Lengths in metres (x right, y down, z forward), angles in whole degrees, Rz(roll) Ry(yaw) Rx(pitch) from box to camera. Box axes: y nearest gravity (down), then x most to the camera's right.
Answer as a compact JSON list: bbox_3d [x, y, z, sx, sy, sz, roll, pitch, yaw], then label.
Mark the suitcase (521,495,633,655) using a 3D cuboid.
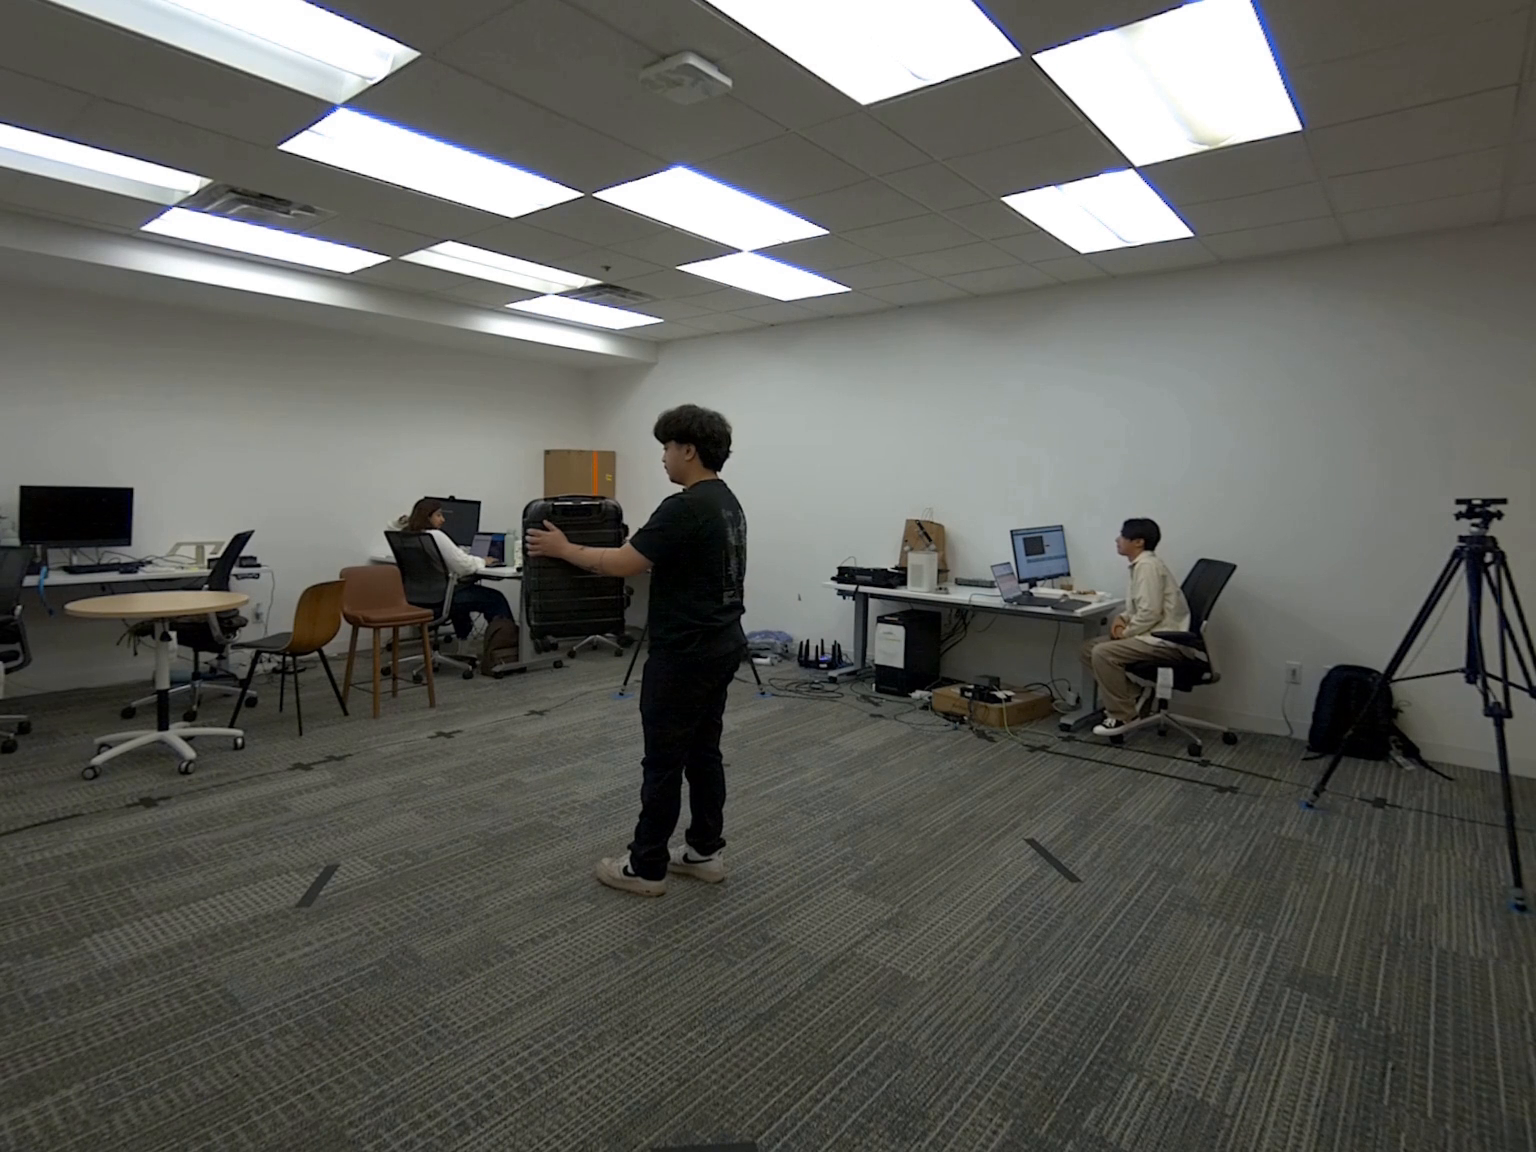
[{"bbox_3d":[-0.731,-0.029,3.139,0.371,0.546,0.253,-2,6,-12],"label":"suitcase"}]
